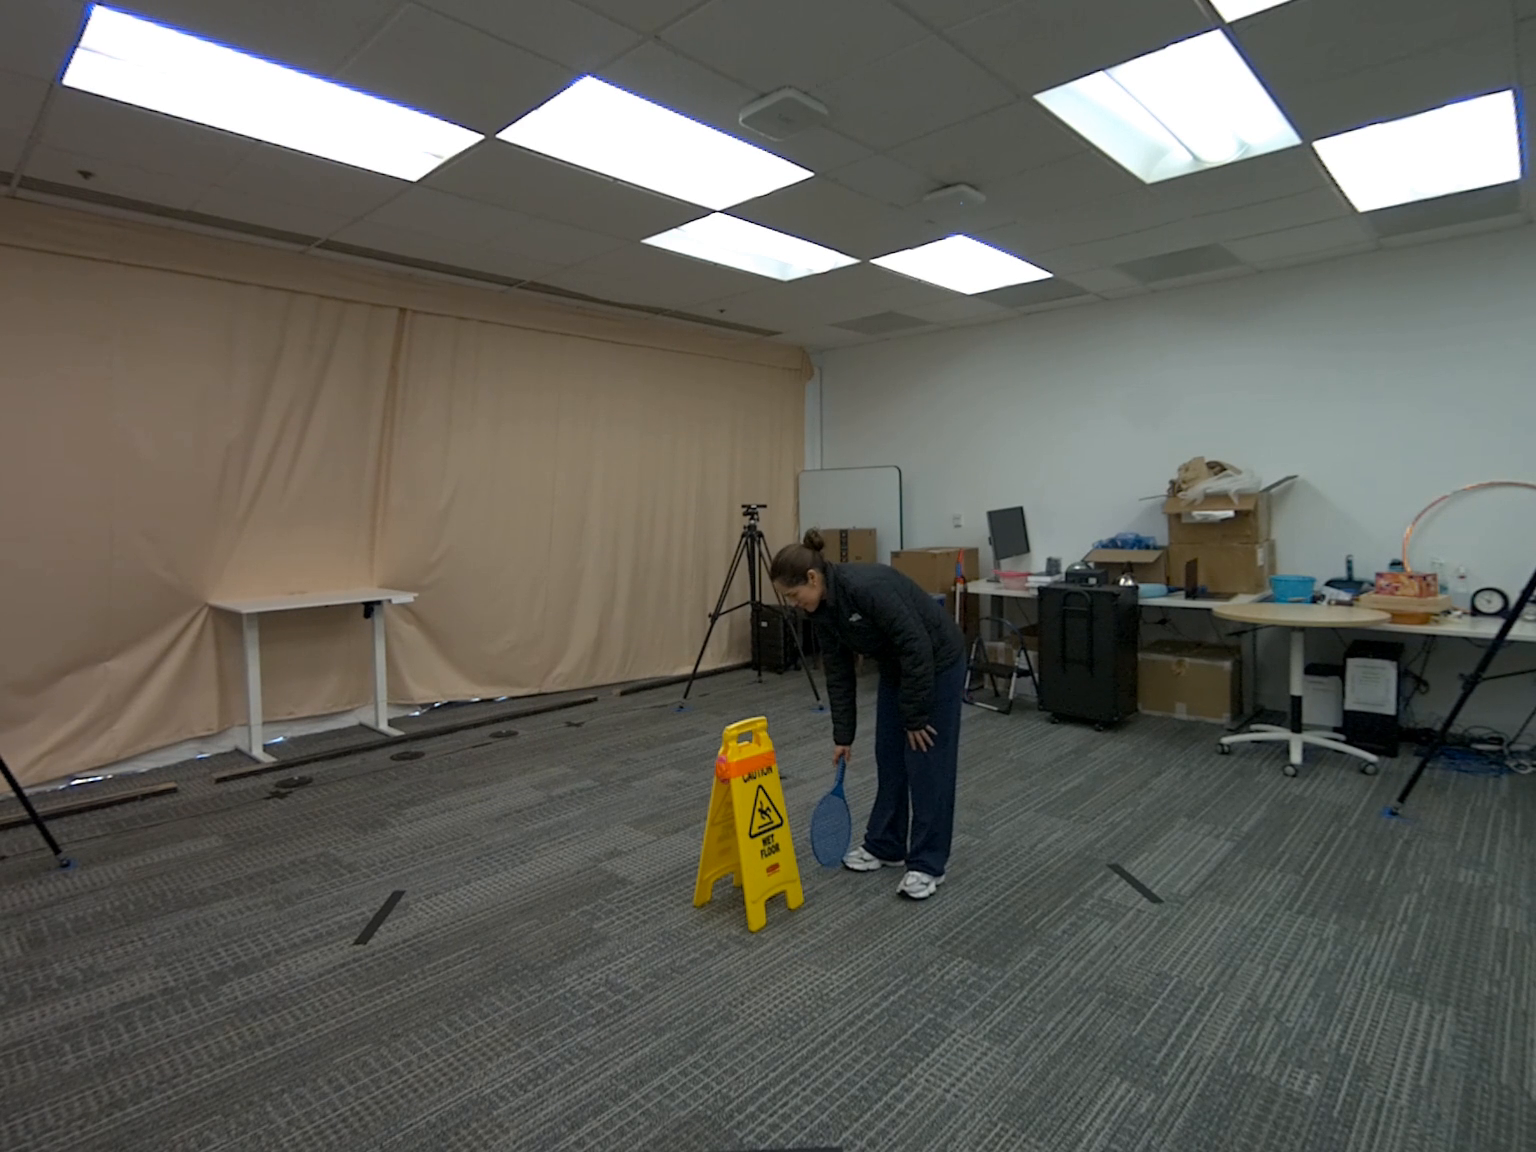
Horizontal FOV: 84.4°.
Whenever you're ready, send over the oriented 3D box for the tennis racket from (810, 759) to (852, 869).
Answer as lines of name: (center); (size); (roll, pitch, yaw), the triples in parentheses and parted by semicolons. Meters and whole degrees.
tennis racket: (0.275, 0.879, 3.155); (0.207, 0.436, 0.032); (29, -27, -31)
